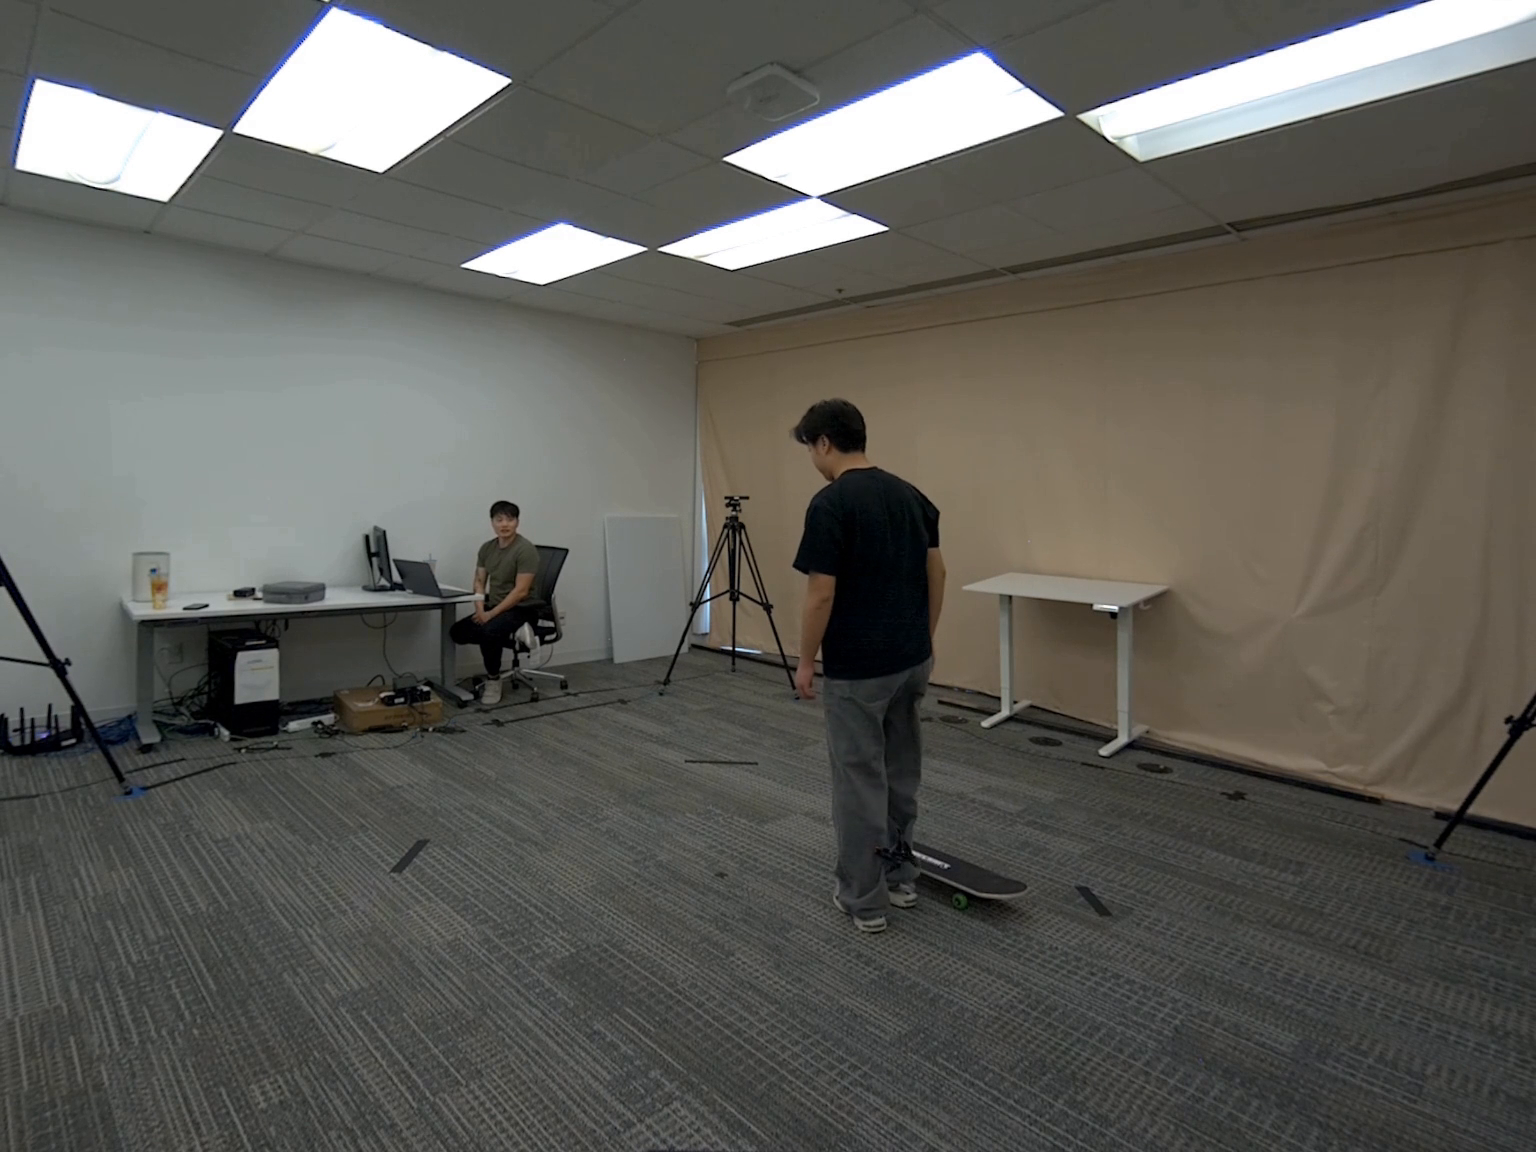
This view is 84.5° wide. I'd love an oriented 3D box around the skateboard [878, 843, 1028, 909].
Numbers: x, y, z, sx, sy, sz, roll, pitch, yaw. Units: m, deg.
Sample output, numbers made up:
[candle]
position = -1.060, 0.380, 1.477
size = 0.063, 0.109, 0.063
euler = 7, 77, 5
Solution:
[skateboard]
position = 0.567, 1.068, 3.092
size = 0.189, 0.110, 0.806
euler = -2, 6, -44
